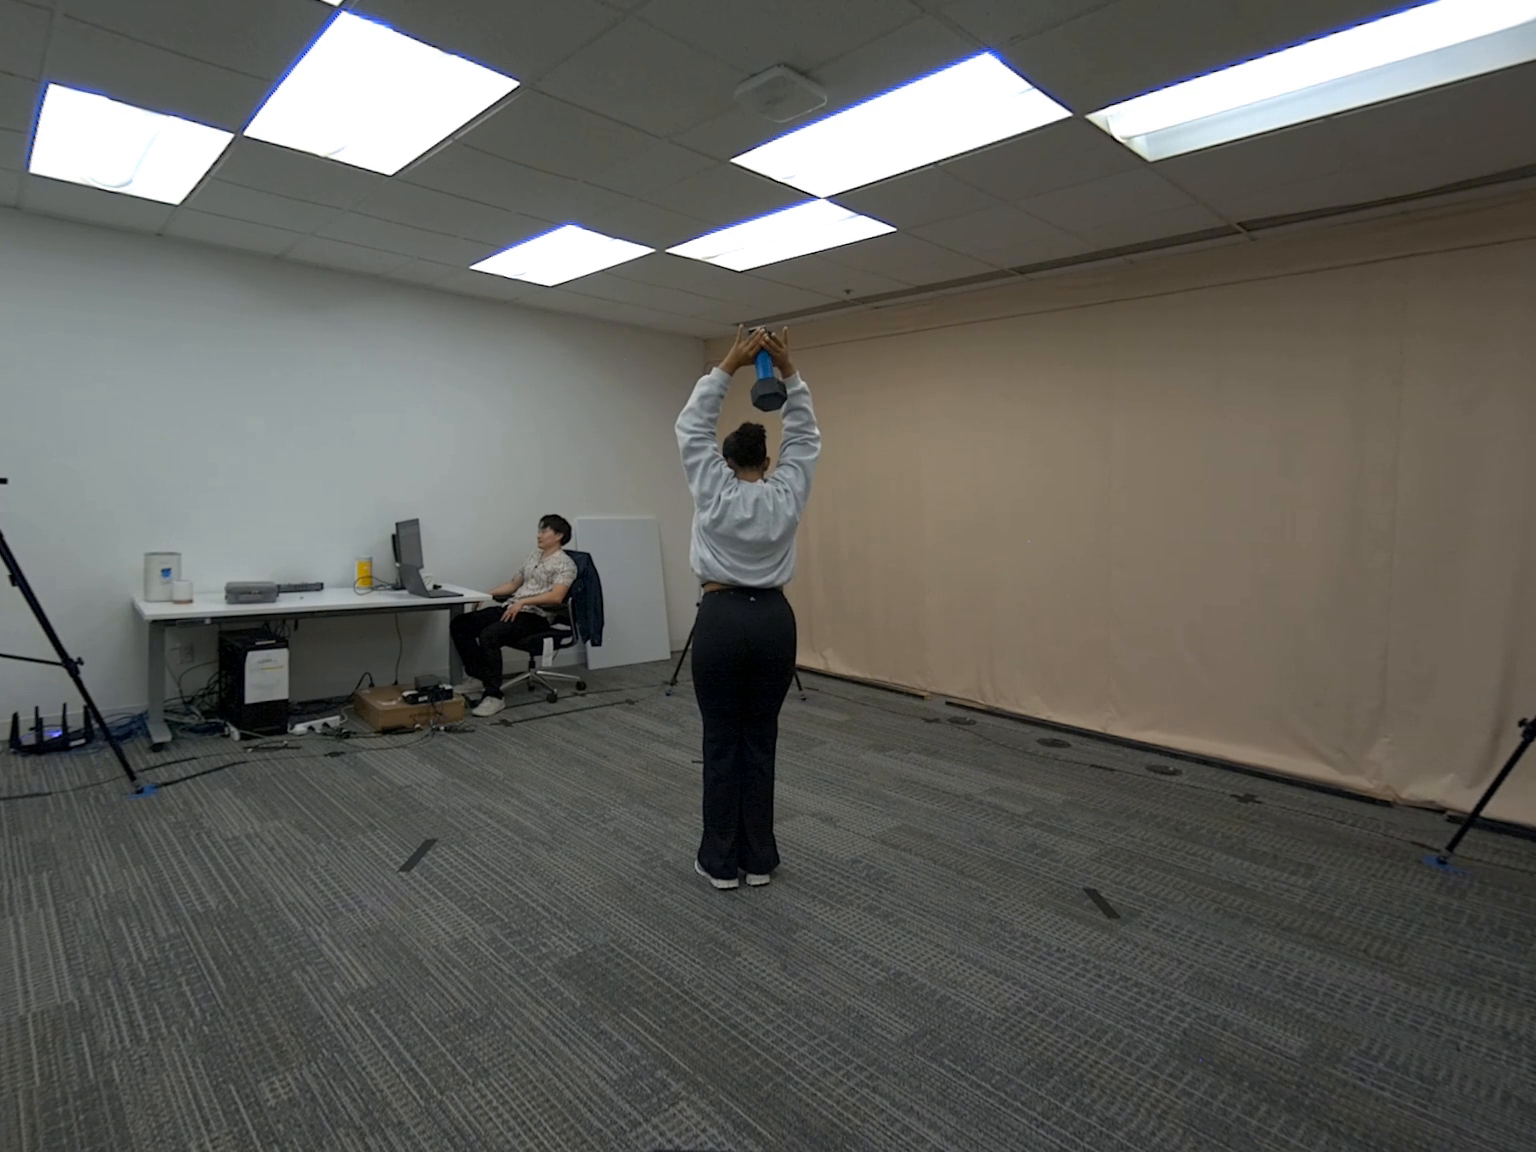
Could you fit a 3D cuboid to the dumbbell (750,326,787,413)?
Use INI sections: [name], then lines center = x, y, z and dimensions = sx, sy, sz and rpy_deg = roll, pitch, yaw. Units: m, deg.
[dumbbell]
center = -0.022, -0.705, 2.902
dimensions = 0.110, 0.298, 0.119
rpy_deg = -21, -25, 31
